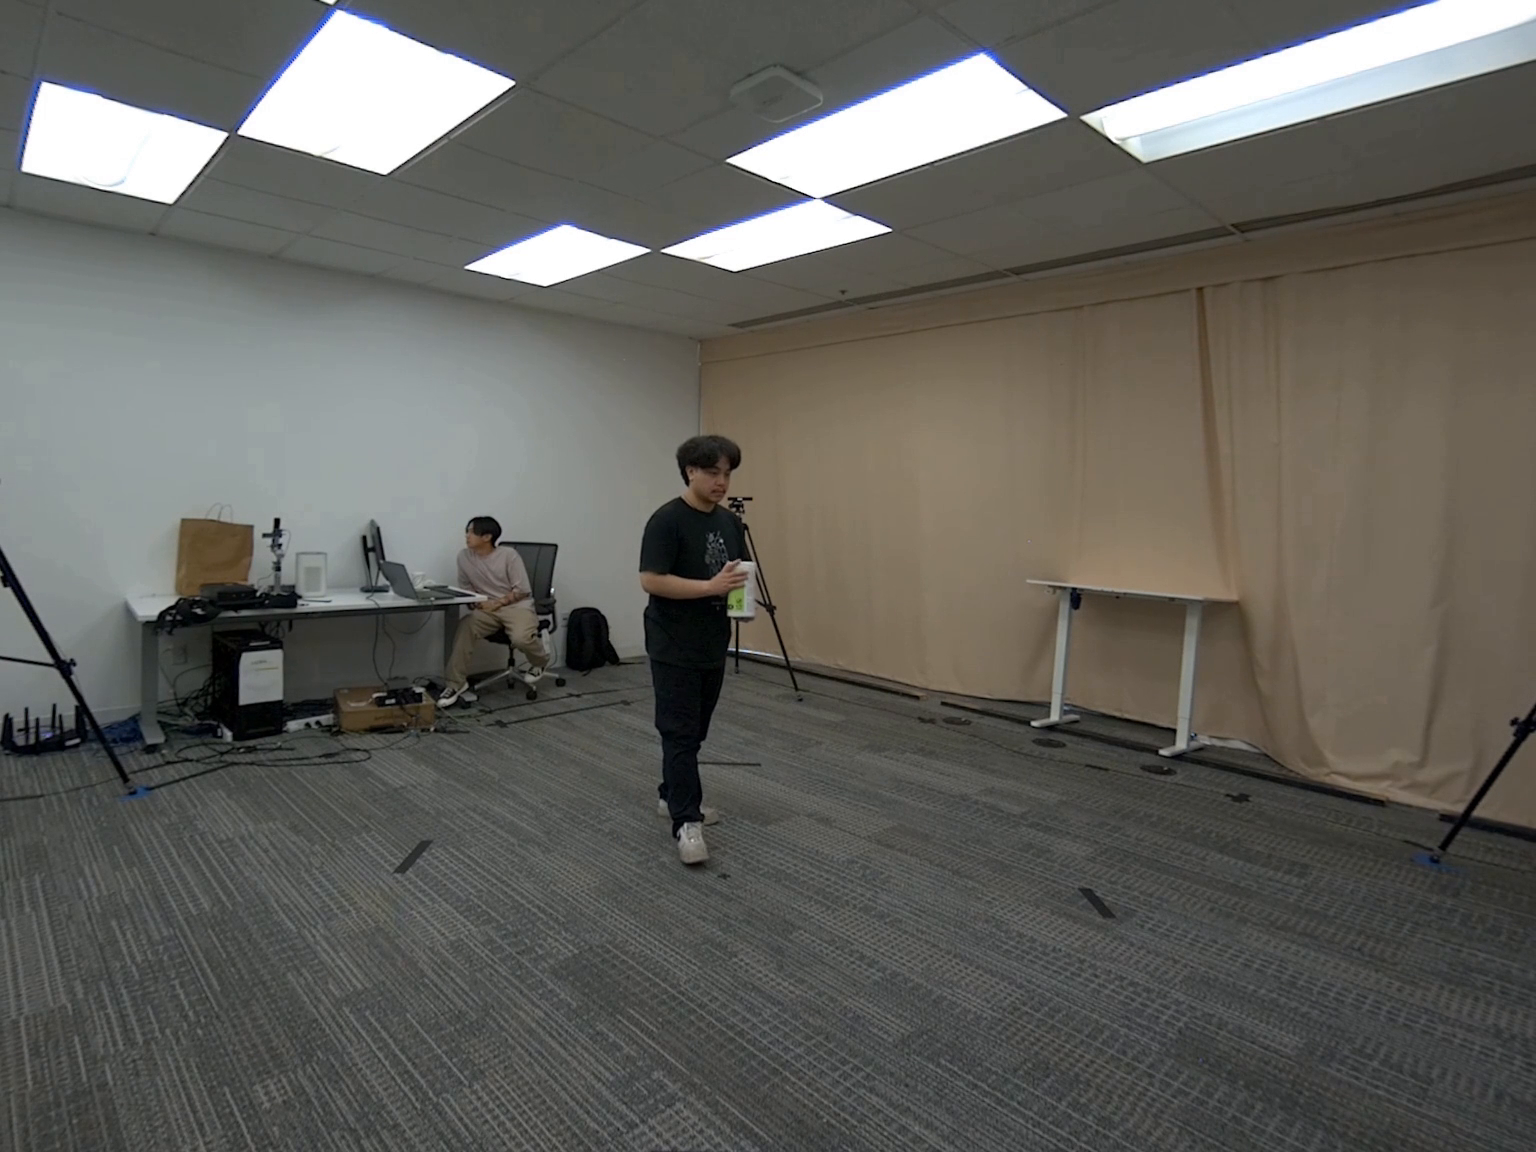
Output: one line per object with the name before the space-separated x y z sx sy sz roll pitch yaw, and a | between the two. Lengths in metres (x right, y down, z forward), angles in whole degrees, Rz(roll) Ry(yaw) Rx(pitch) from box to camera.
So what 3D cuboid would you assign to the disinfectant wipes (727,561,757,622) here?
disinfectant wipes | -0.119 0.051 3.304 0.118 0.218 0.117 4 -4 -1
